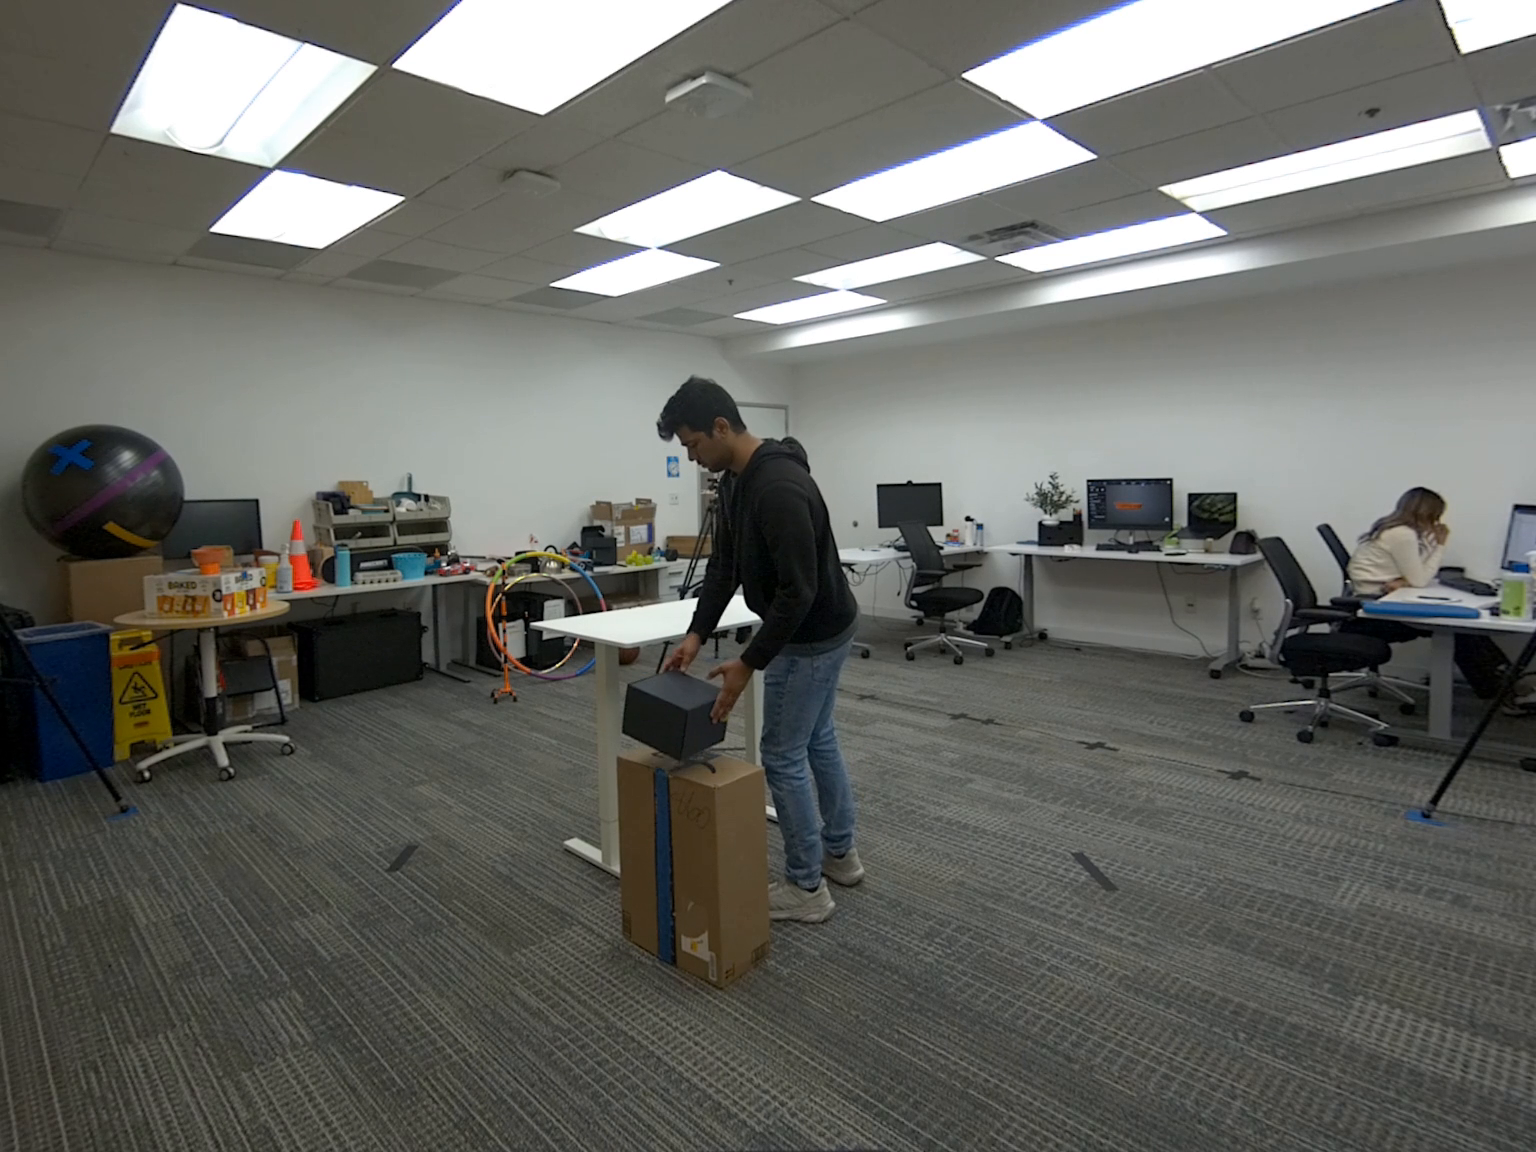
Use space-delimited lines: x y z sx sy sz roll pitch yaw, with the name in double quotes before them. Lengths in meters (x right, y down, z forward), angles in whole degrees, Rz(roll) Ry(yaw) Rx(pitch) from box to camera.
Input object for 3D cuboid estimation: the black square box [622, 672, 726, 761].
"black square box" -0.266 0.392 2.510 0.235 0.154 0.212 15 14 33
